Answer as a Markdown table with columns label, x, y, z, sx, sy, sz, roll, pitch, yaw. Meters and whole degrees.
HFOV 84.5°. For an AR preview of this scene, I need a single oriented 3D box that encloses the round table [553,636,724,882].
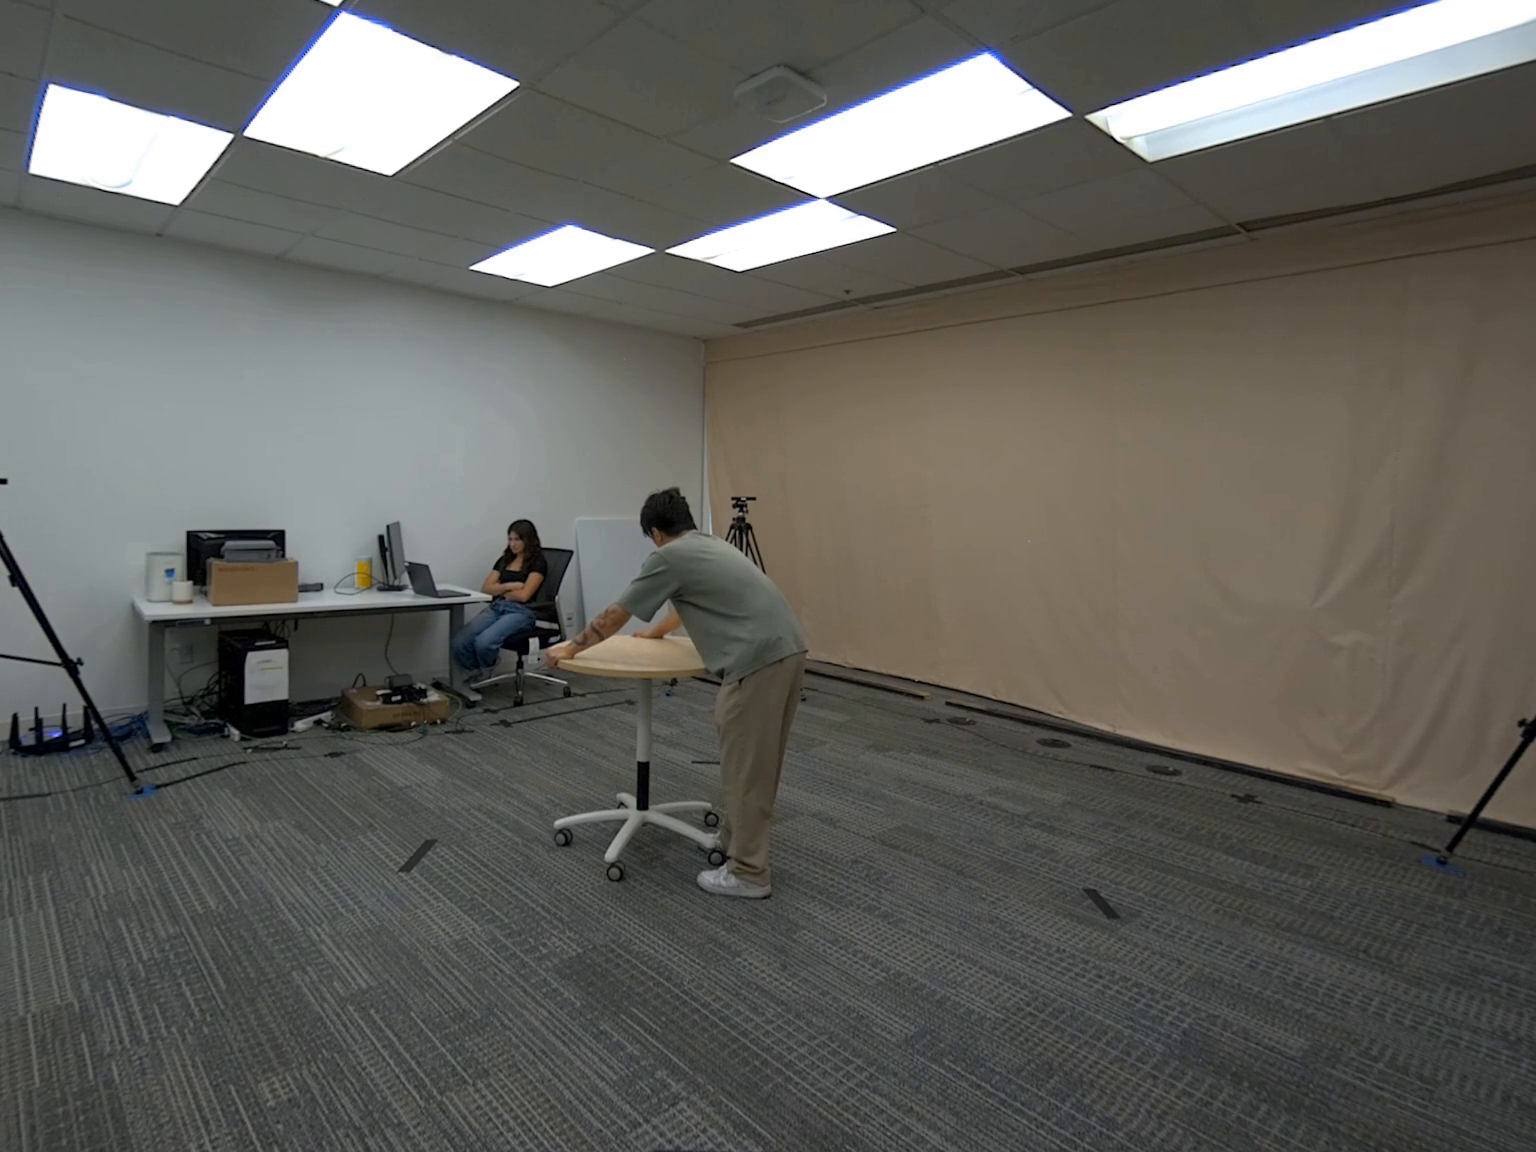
| label | x | y | z | sx | sy | sz | roll | pitch | yaw |
| --- | --- | --- | --- | --- | --- | --- | --- | --- | --- |
| round table | -0.510 | 0.686 | 3.354 | 0.784 | 0.784 | 0.787 | 1 | 4 | -1 |
